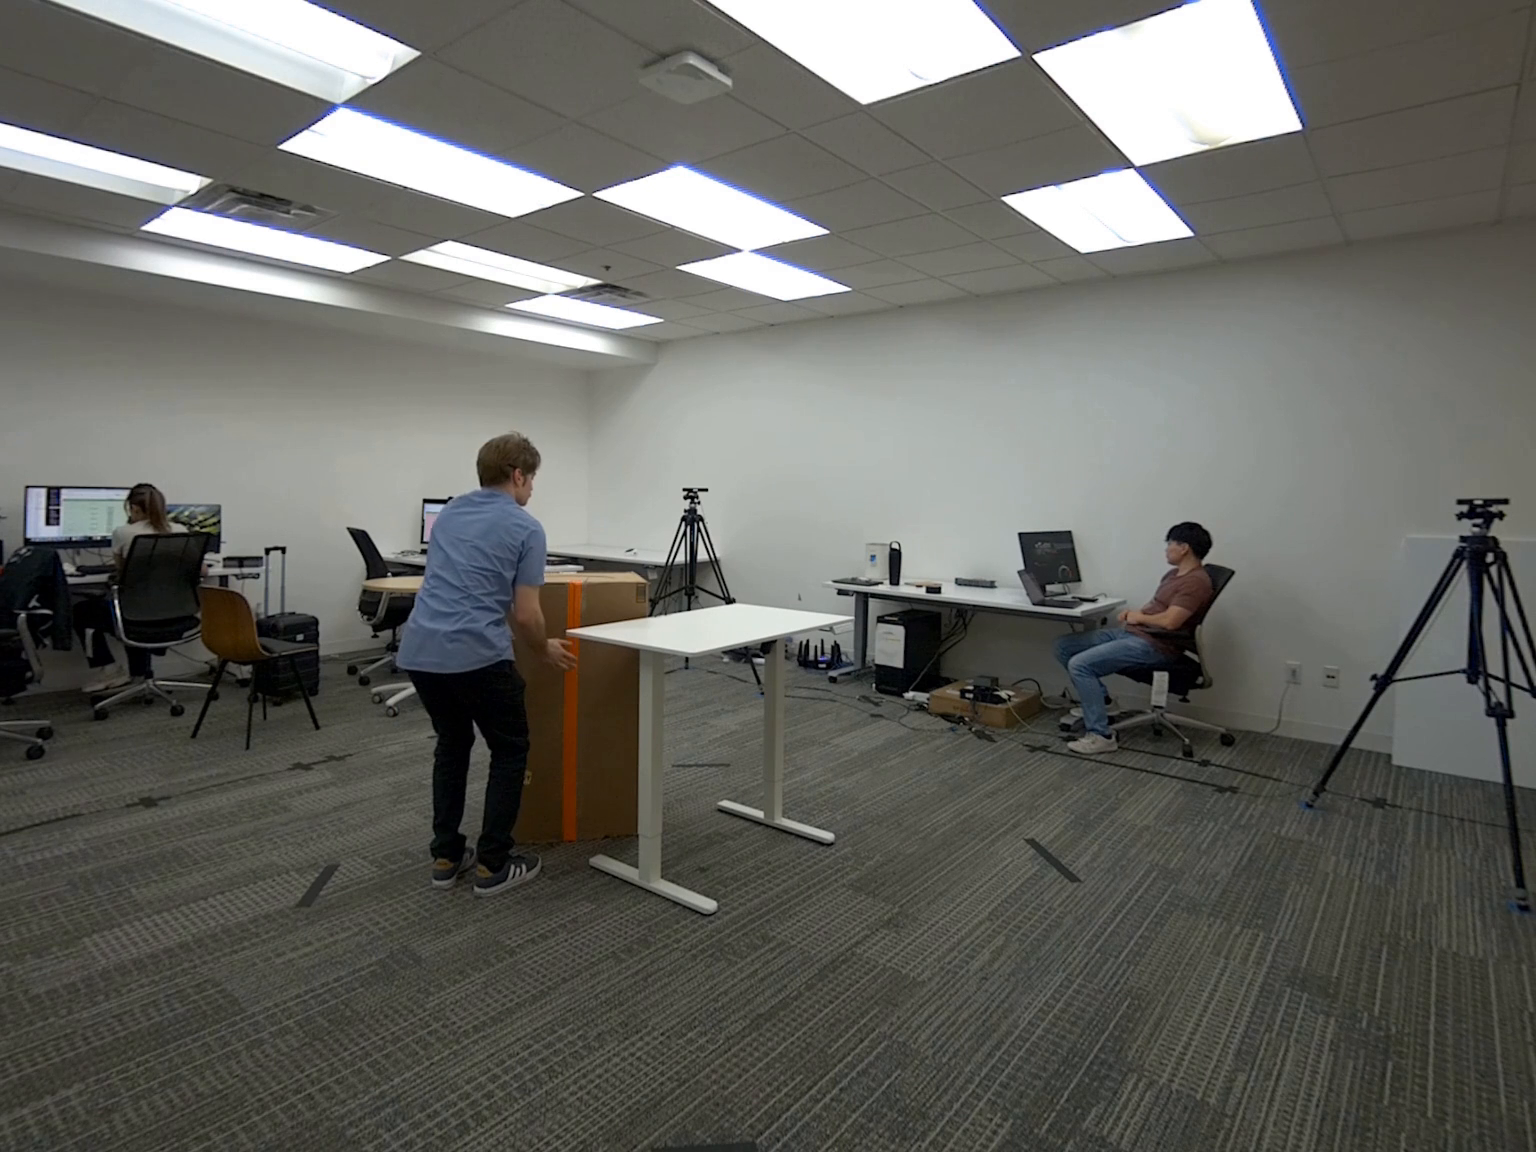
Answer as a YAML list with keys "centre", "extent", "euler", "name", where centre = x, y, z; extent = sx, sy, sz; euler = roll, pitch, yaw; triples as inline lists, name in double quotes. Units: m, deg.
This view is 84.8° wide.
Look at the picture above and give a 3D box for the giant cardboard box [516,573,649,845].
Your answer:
- centre: [-0.838, 0.508, 3.522]
  extent: [0.568, 1.023, 0.434]
  euler: [1, 3, -15]
  name: "giant cardboard box"
